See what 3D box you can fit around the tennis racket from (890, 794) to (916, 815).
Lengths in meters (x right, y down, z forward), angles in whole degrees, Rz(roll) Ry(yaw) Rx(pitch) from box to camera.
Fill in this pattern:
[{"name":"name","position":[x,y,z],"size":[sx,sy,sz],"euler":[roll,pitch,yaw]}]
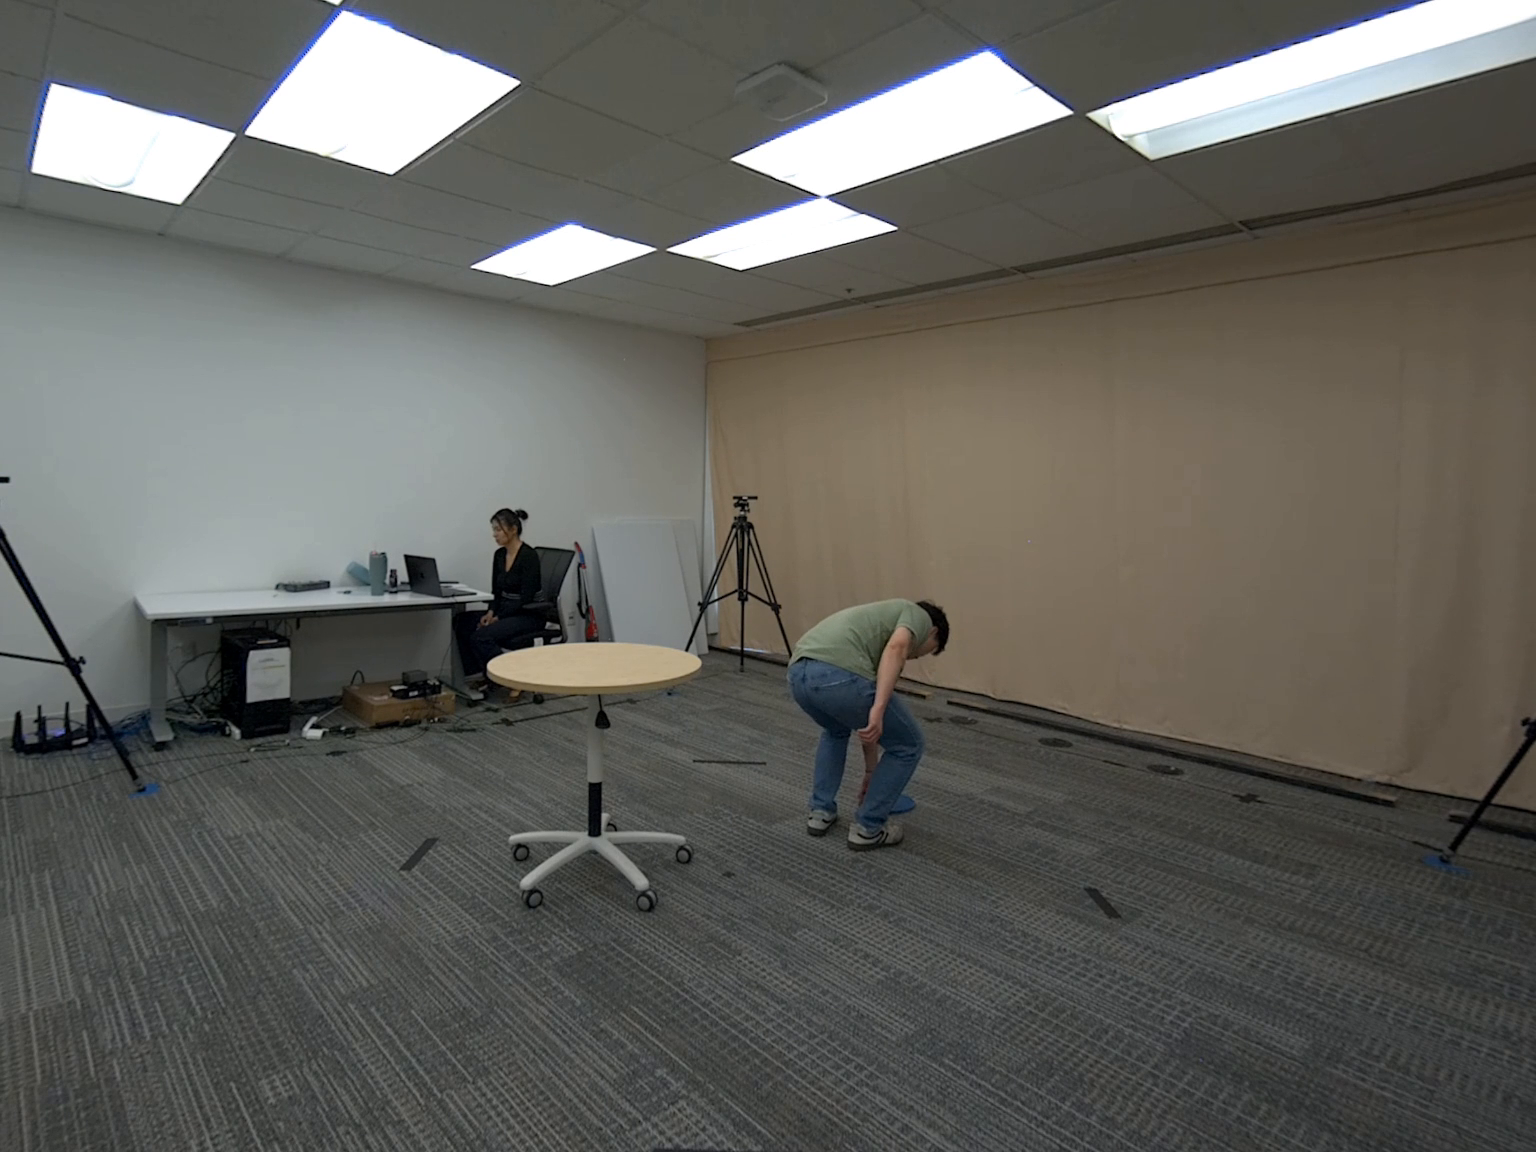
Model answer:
[{"name":"tennis racket","position":[0.507,1.042,3.806],"size":[0.218,0.032,0.424],"euler":[4,5,30]}]
